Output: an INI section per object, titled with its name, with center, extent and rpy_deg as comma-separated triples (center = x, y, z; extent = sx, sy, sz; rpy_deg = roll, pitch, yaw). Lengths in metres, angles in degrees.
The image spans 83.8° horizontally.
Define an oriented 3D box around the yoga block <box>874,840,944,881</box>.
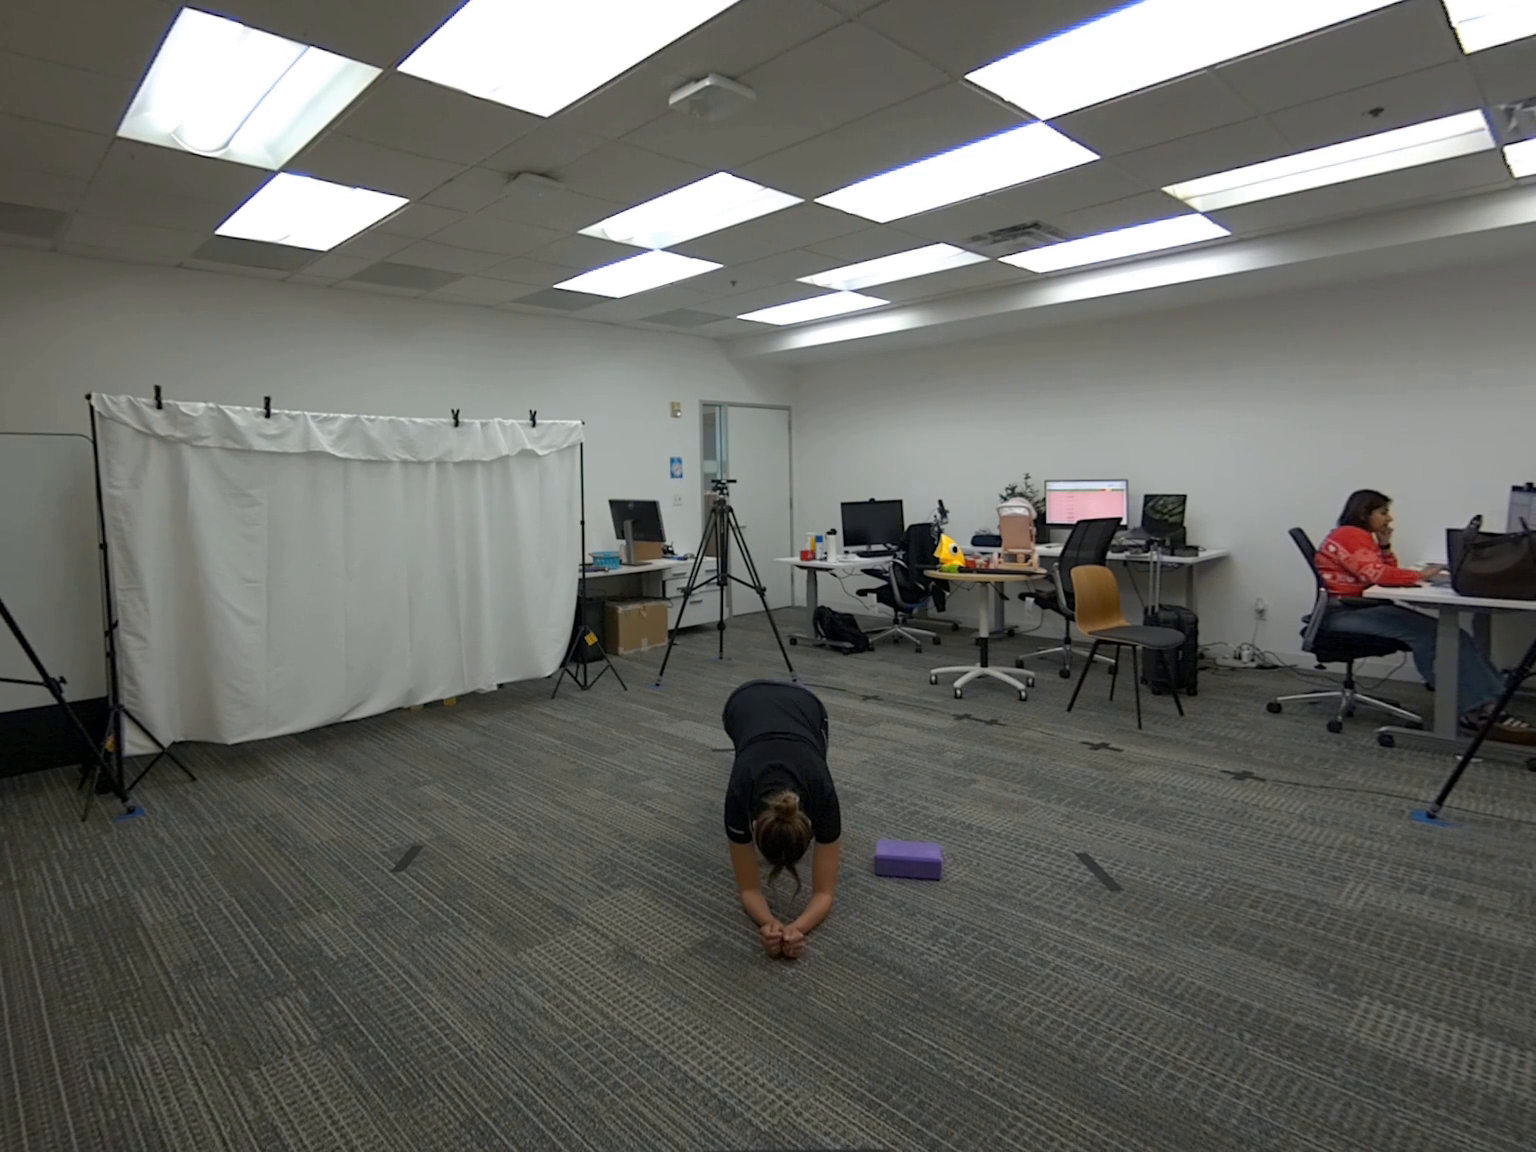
[yoga block]
center = 0.503, 1.005, 3.033
extent = 0.232, 0.076, 0.148
rpy_deg = 0, 5, 12
